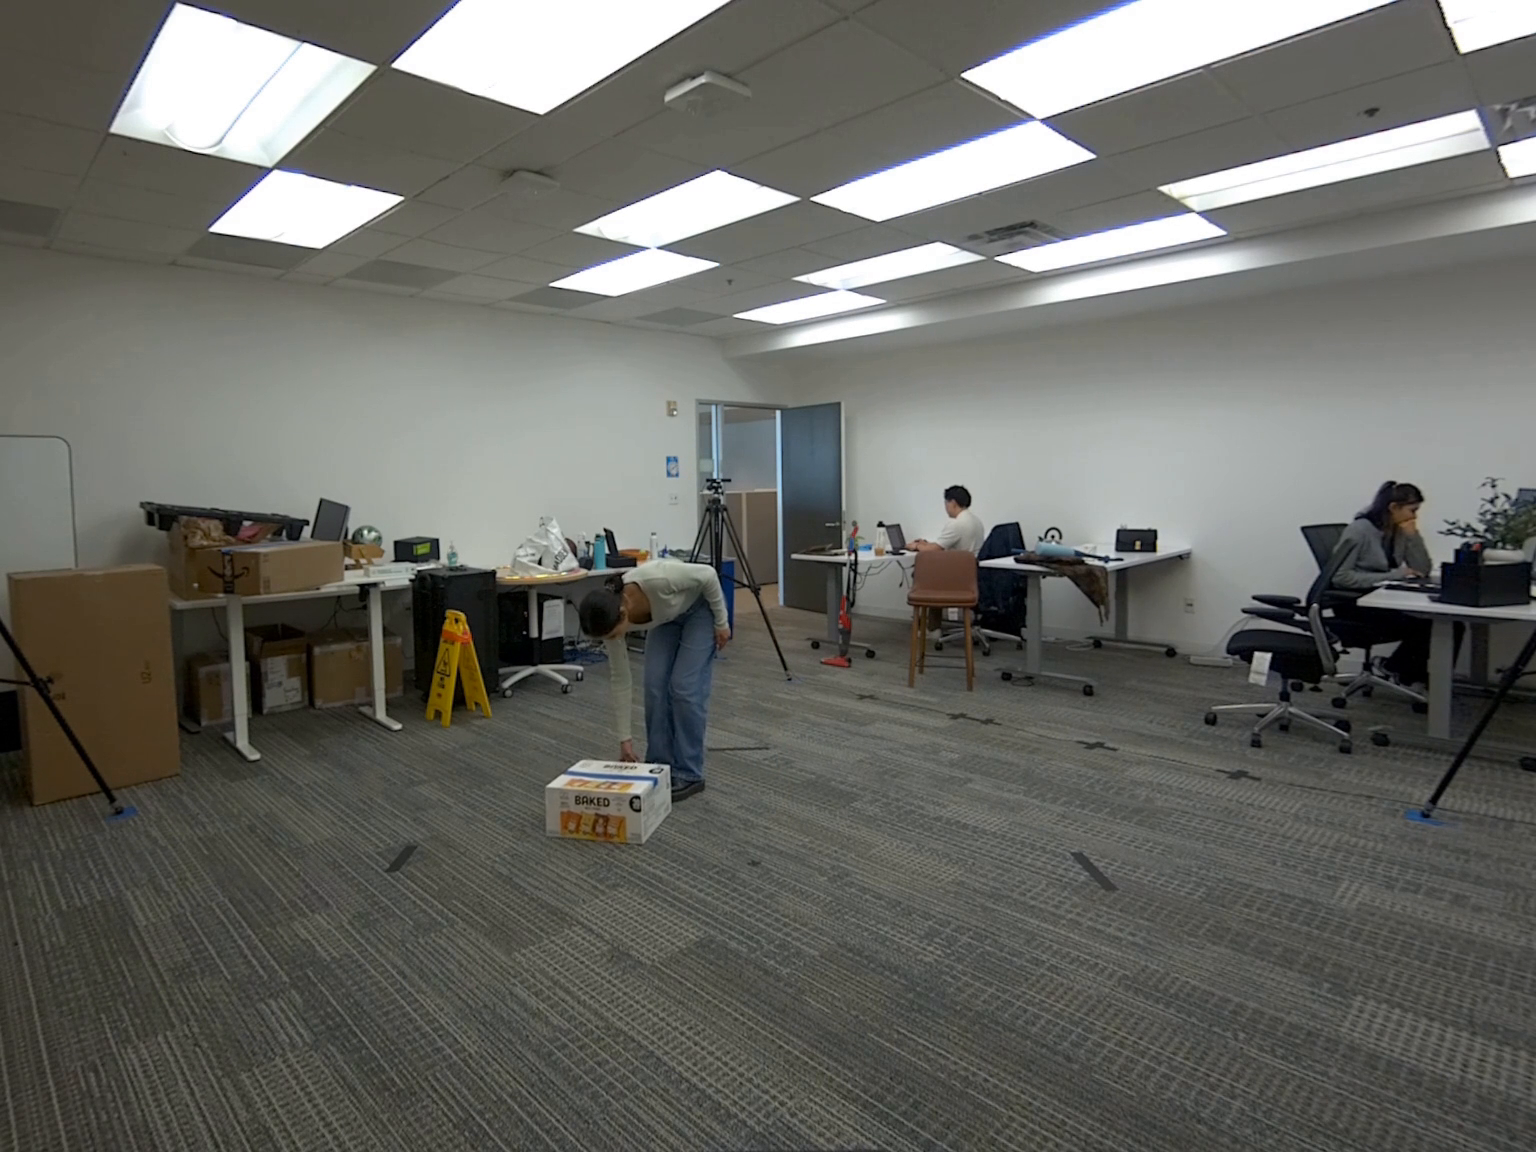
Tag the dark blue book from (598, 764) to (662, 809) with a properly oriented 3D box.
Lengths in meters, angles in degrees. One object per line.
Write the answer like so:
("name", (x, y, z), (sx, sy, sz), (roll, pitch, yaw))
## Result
("dark blue book", (-0.601, 0.905, 3.724), (0.246, 0.045, 0.163), (-27, 7, 13))
